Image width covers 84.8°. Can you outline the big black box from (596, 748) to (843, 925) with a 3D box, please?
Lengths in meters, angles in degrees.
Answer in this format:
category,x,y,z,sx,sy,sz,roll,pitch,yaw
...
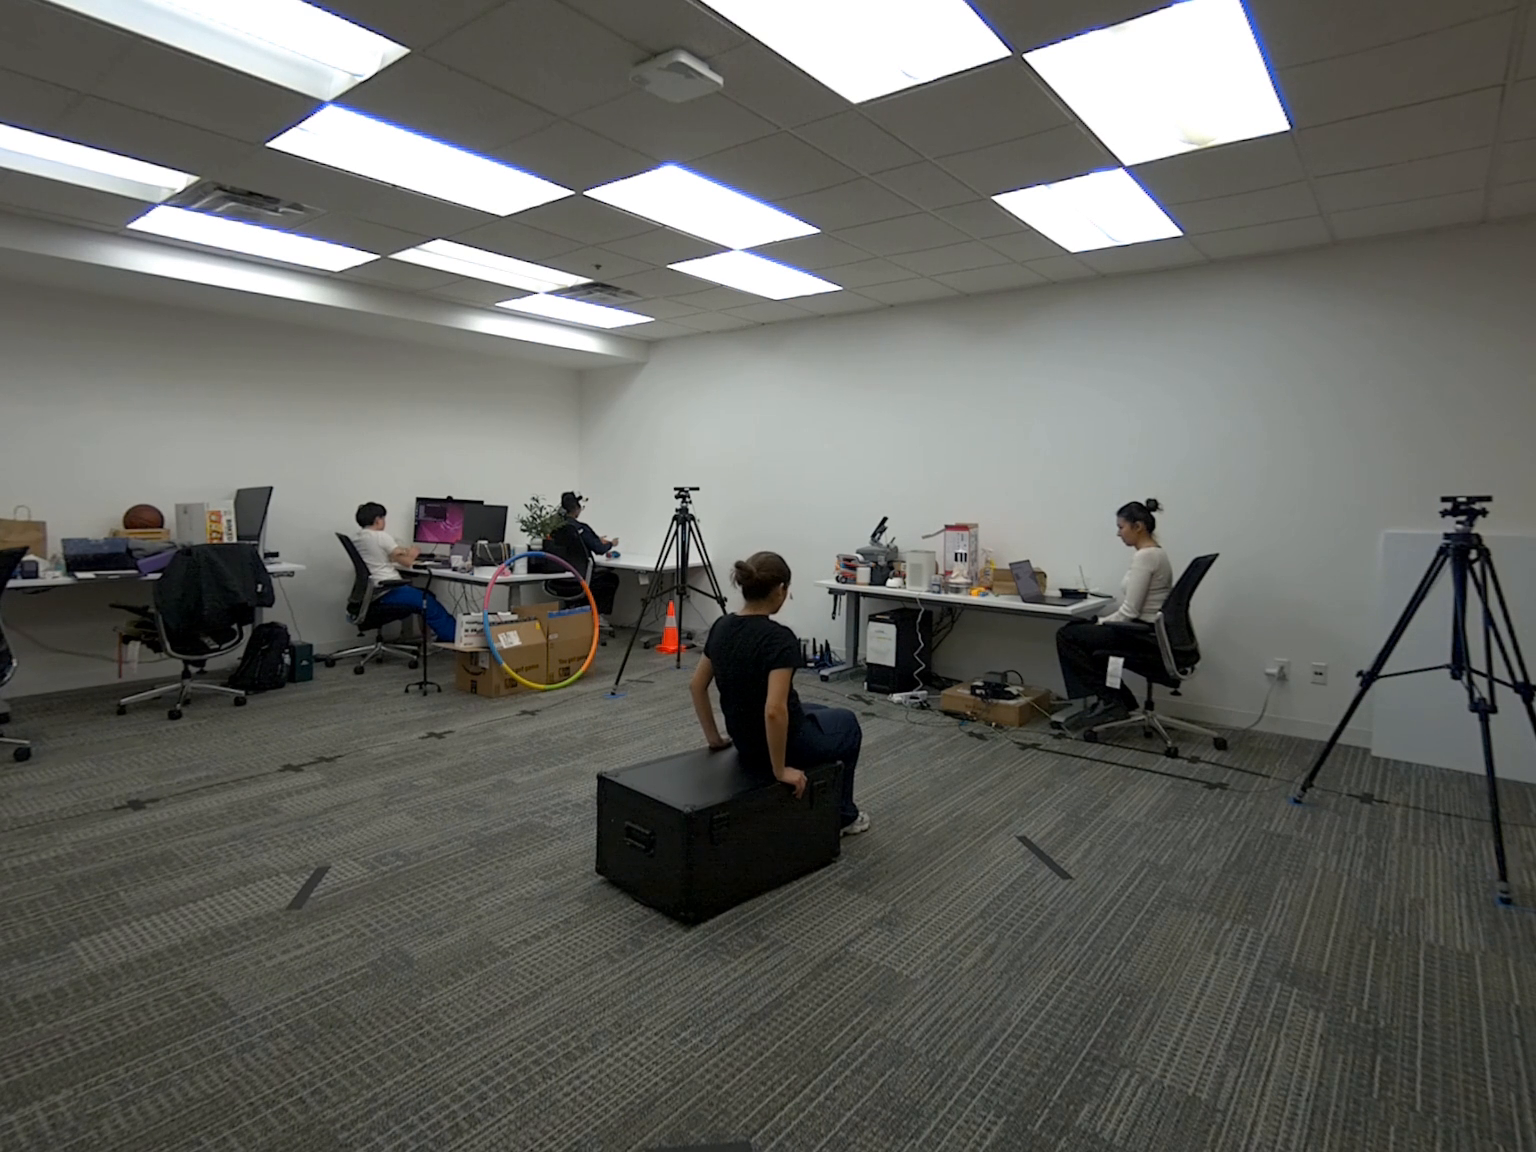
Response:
category,x,y,z,sx,sy,sz,roll,pitch,yaw
big black box,-0.175,0.882,3.079,0.835,0.395,0.539,-2,5,-44
